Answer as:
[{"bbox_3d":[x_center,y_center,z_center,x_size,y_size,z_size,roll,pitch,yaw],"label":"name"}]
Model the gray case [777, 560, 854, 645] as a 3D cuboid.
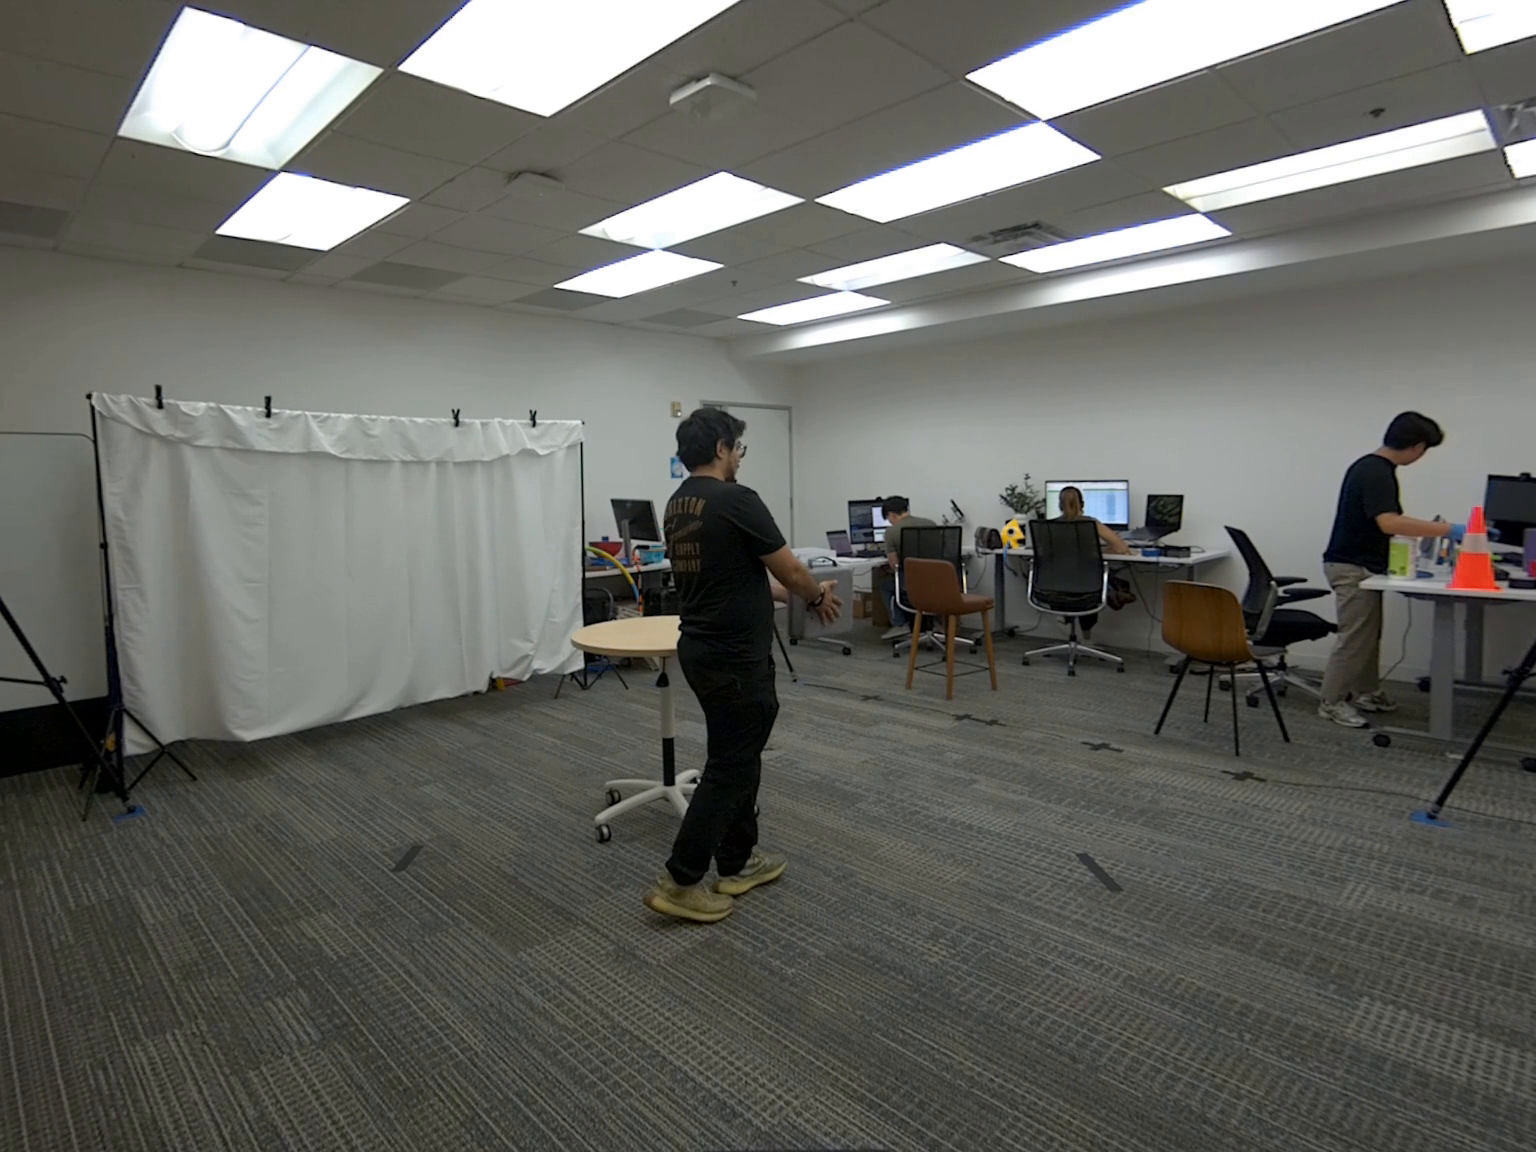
[{"bbox_3d":[0.196,0.089,3.081,0.250,0.259,0.108,-6,10,-37],"label":"gray case"}]
